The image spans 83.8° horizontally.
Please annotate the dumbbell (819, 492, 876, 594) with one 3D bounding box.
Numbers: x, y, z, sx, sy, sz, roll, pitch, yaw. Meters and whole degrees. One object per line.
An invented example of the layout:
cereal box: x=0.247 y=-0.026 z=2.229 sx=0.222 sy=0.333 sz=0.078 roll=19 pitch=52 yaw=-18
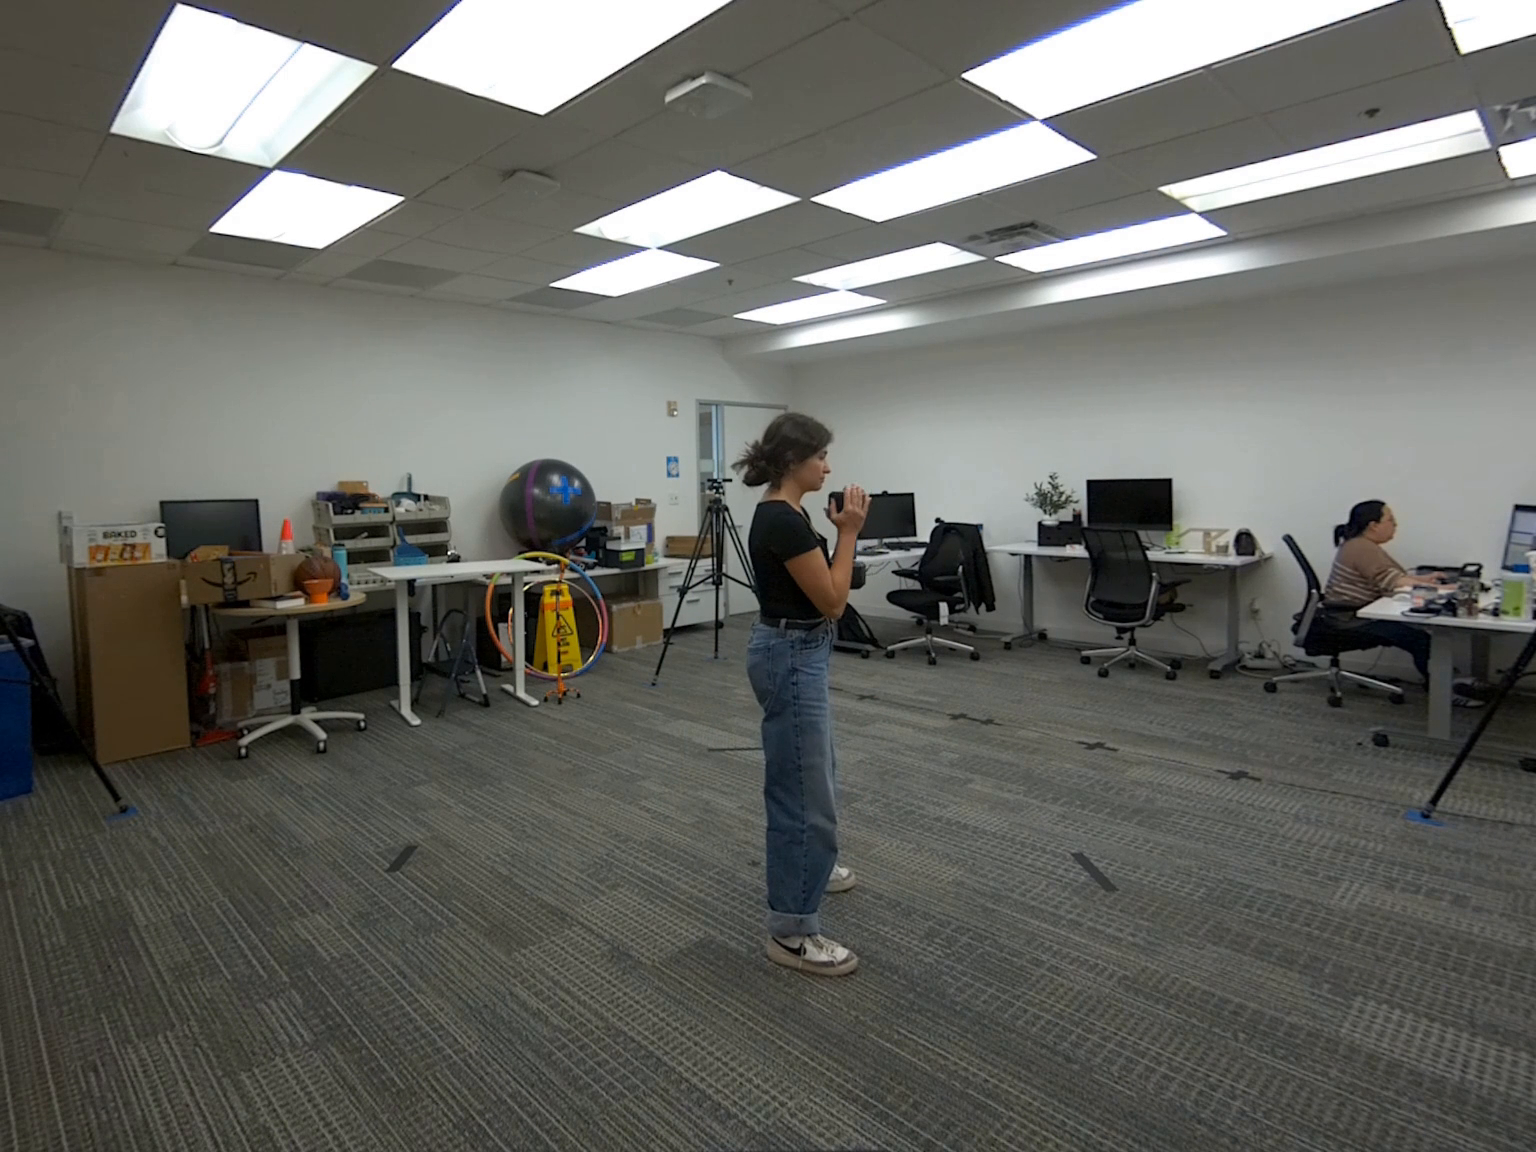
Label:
dumbbell: x=0.234 y=-0.103 z=2.577 sx=0.120 sy=0.292 sz=0.111 roll=0 pitch=5 yaw=-22
